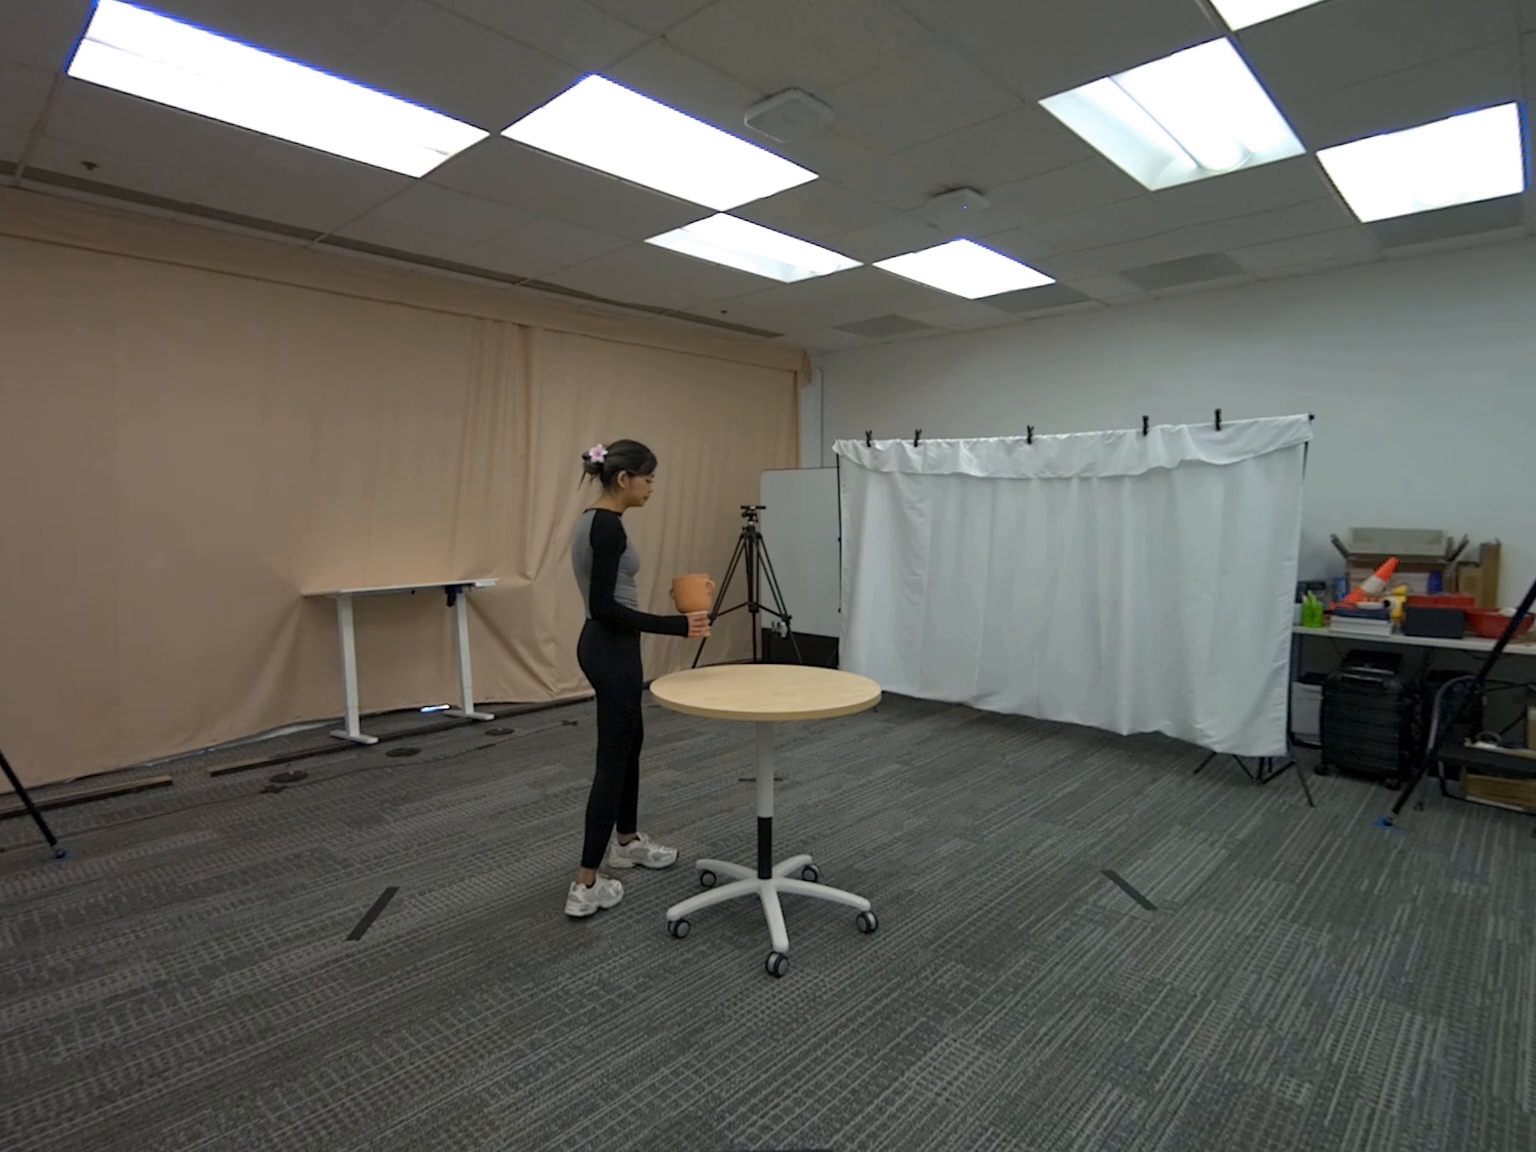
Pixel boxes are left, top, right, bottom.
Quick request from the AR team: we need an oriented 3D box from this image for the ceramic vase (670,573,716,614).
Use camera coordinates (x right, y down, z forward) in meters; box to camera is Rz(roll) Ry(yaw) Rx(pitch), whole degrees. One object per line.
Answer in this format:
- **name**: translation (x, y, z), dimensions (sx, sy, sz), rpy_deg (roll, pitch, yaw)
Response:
- **ceramic vase**: translation (-0.268, 0.112, 3.015), dimensions (0.132, 0.221, 0.161), rpy_deg (-4, -7, -22)
